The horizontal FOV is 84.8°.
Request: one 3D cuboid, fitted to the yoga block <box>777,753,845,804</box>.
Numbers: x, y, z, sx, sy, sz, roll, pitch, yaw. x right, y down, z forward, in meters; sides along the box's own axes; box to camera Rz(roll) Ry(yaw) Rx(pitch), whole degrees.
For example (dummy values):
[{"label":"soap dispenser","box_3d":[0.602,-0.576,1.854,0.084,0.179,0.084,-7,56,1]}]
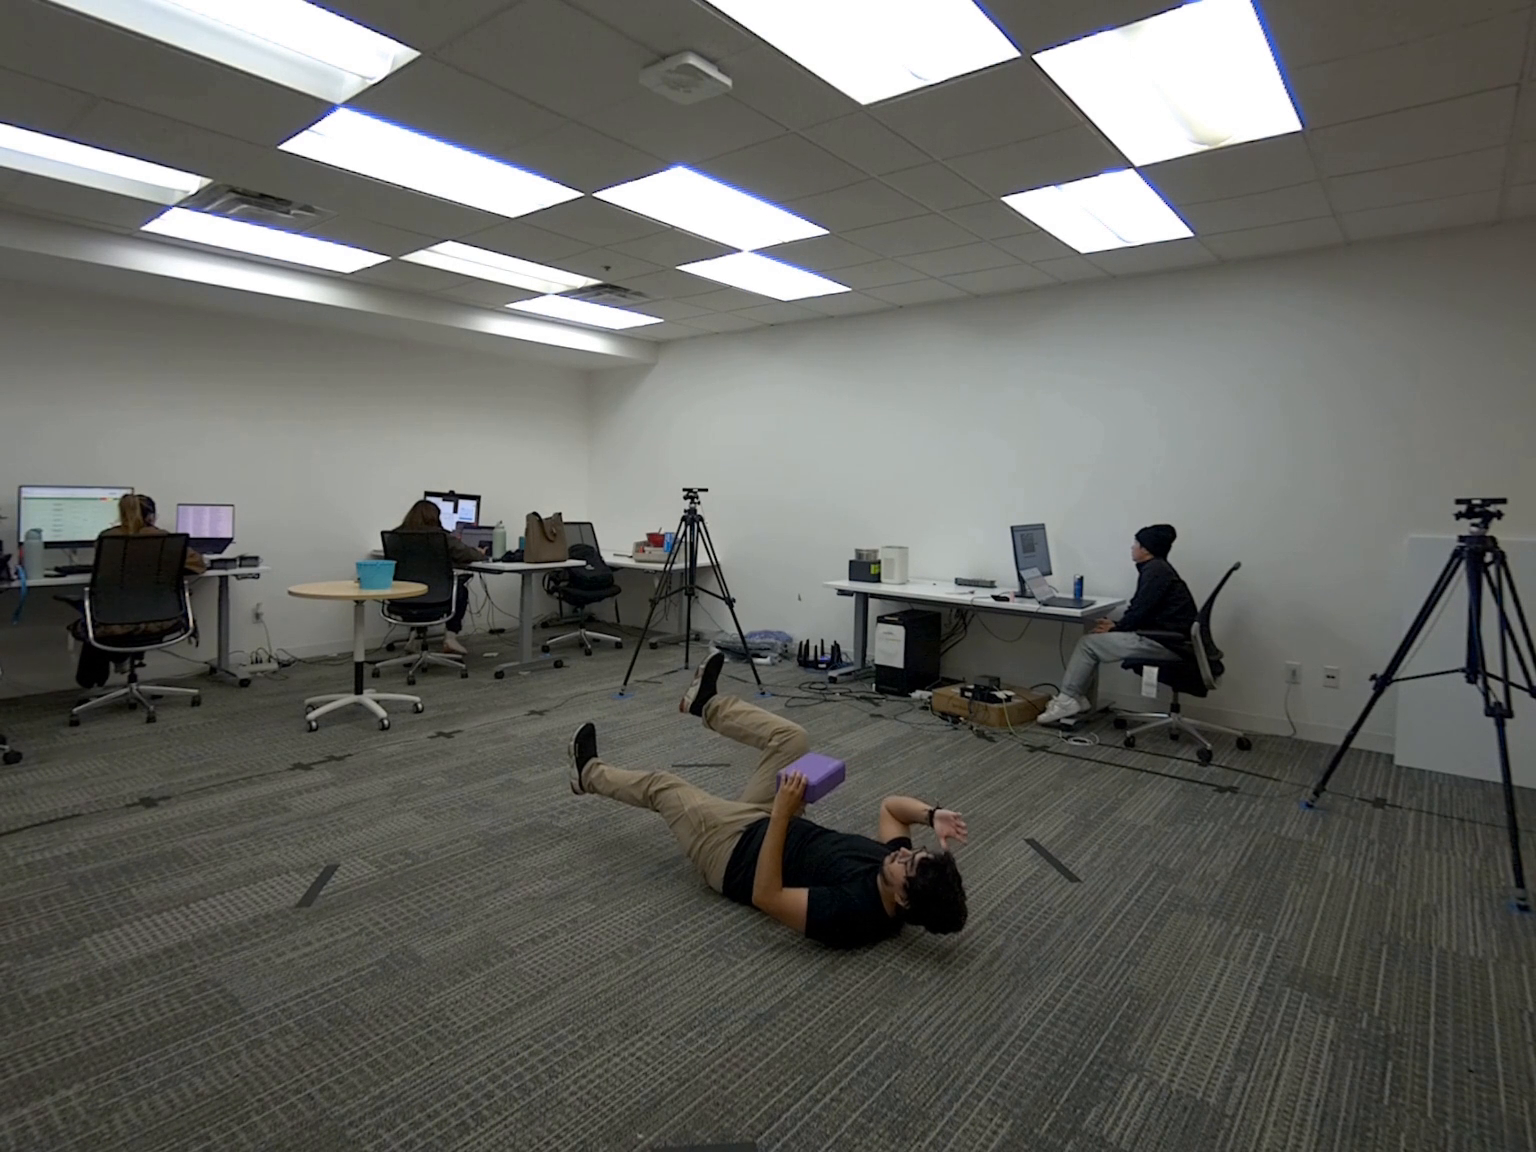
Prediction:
[{"label":"yoga block","box_3d":[0.138,0.669,2.851,0.154,0.076,0.224,6,12,32]}]
